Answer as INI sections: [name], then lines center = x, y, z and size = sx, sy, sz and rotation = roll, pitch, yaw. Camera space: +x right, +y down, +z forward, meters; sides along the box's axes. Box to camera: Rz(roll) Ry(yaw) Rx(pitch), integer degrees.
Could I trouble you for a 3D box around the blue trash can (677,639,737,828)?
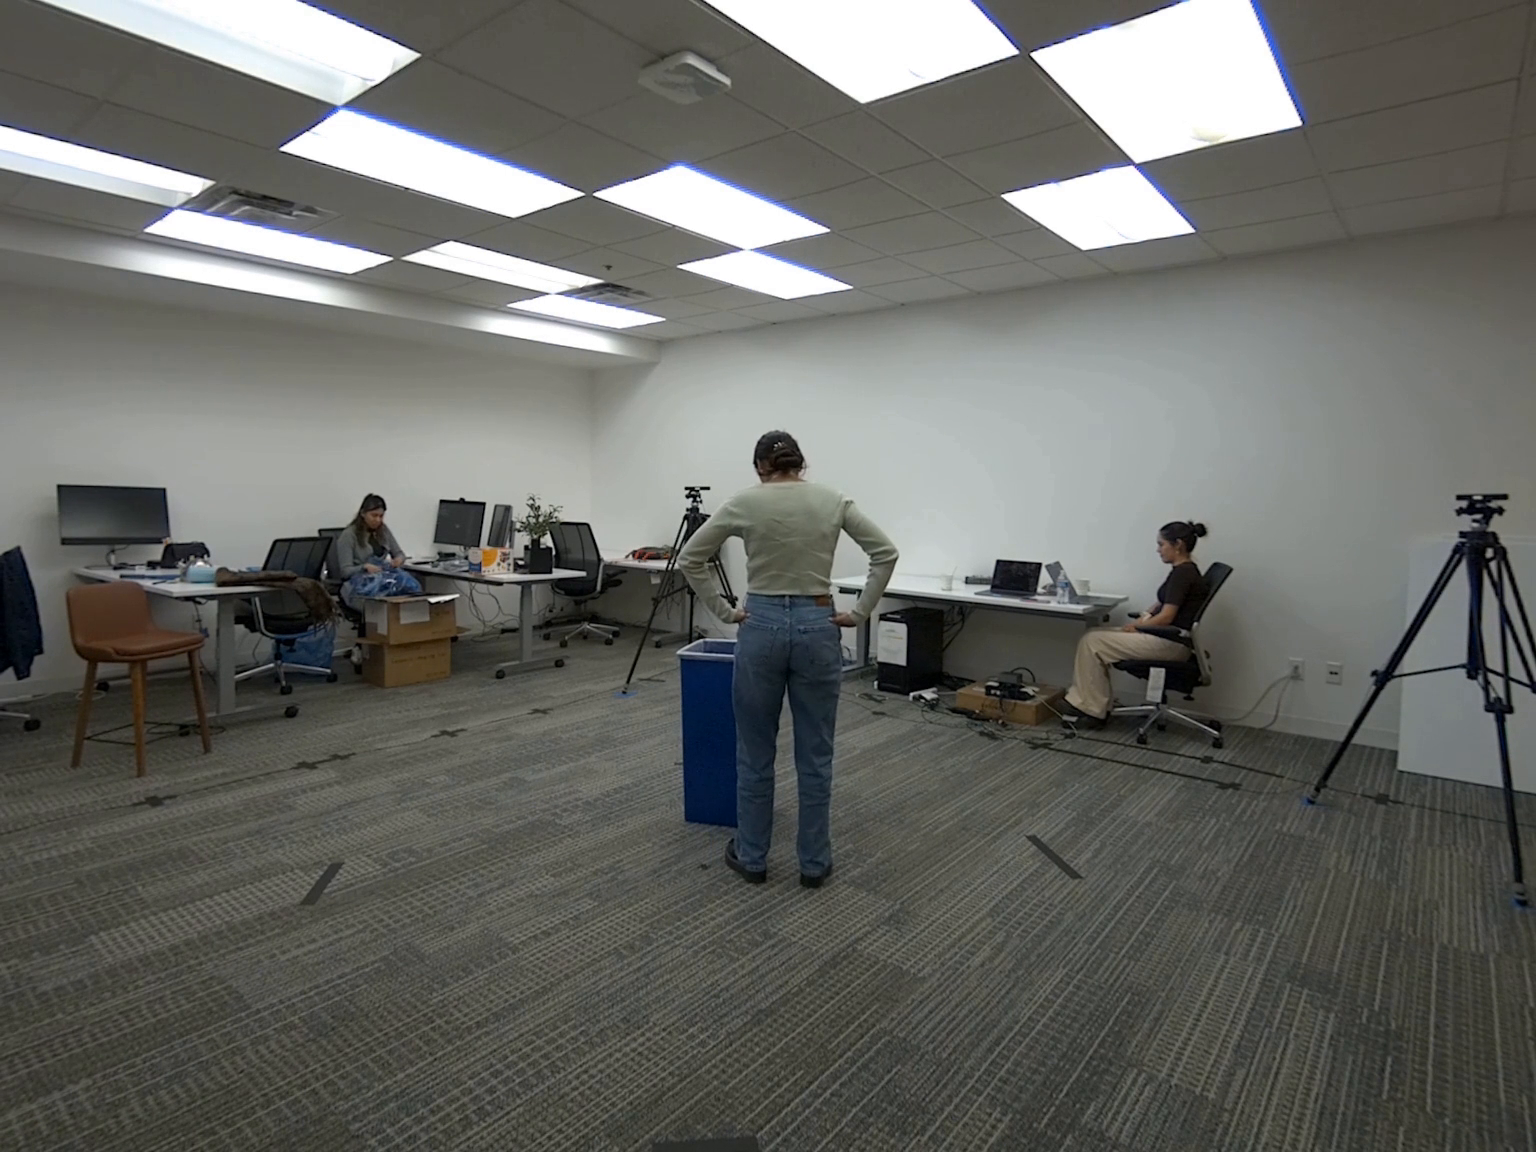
[blue trash can]
center = -0.181, 0.652, 3.634
size = 0.385, 0.711, 0.368
rotation = 2, 4, 16
